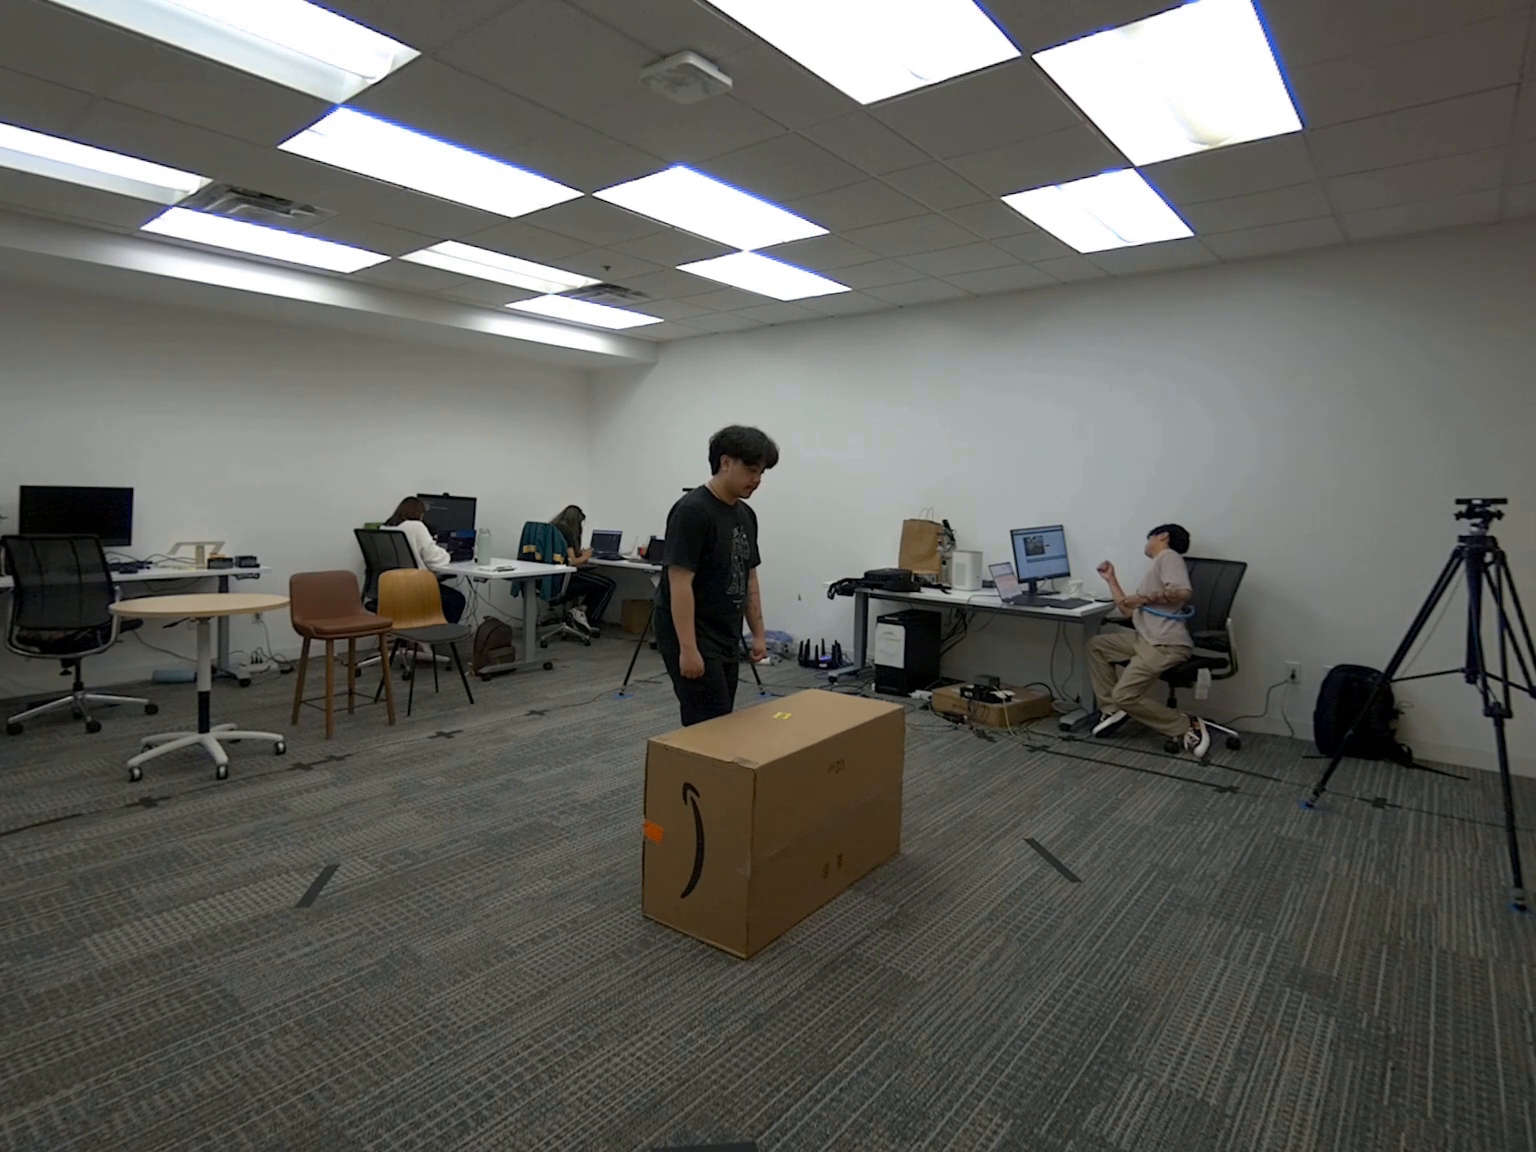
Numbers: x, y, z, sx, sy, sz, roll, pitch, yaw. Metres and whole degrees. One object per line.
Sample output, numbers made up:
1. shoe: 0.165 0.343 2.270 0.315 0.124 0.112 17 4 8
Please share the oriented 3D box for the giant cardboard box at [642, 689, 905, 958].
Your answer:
1. giant cardboard box: 0.060 0.798 3.011 0.461 0.582 0.997 3 4 36
